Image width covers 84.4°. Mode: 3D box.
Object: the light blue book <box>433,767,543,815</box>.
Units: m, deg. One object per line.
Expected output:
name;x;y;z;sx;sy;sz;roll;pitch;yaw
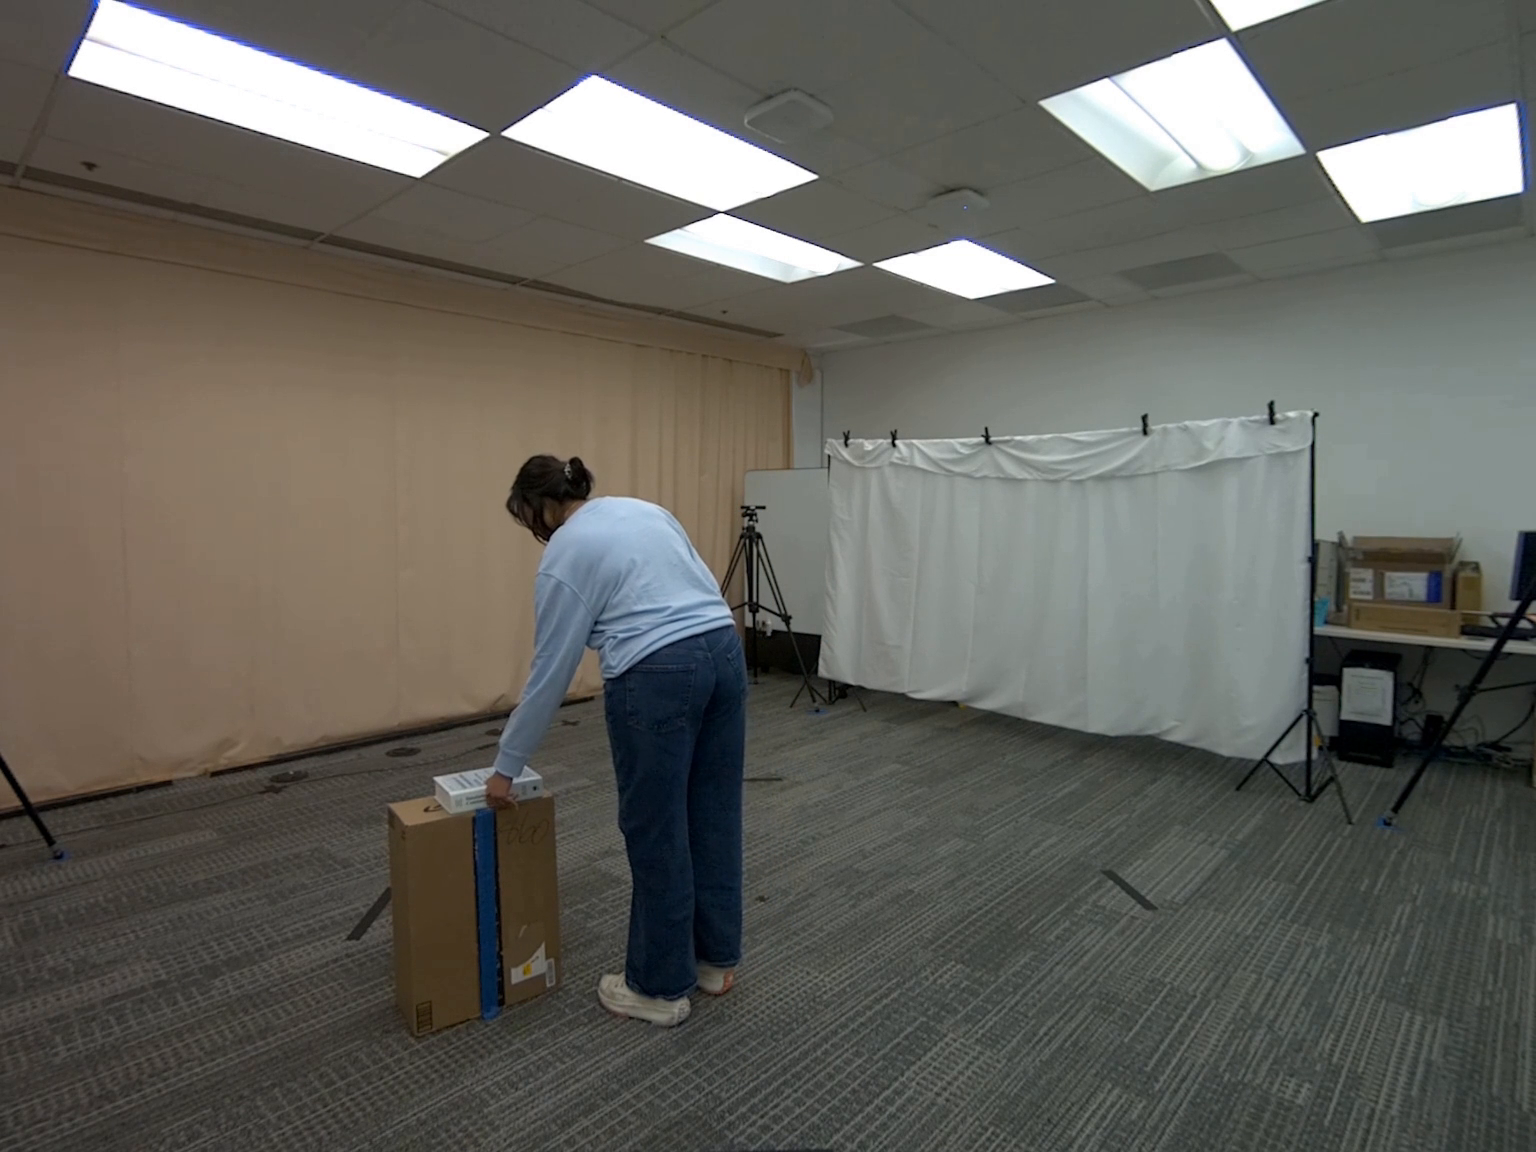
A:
light blue book;-0.799;0.605;2.413;0.254;0.059;0.197;-3;4;-33
